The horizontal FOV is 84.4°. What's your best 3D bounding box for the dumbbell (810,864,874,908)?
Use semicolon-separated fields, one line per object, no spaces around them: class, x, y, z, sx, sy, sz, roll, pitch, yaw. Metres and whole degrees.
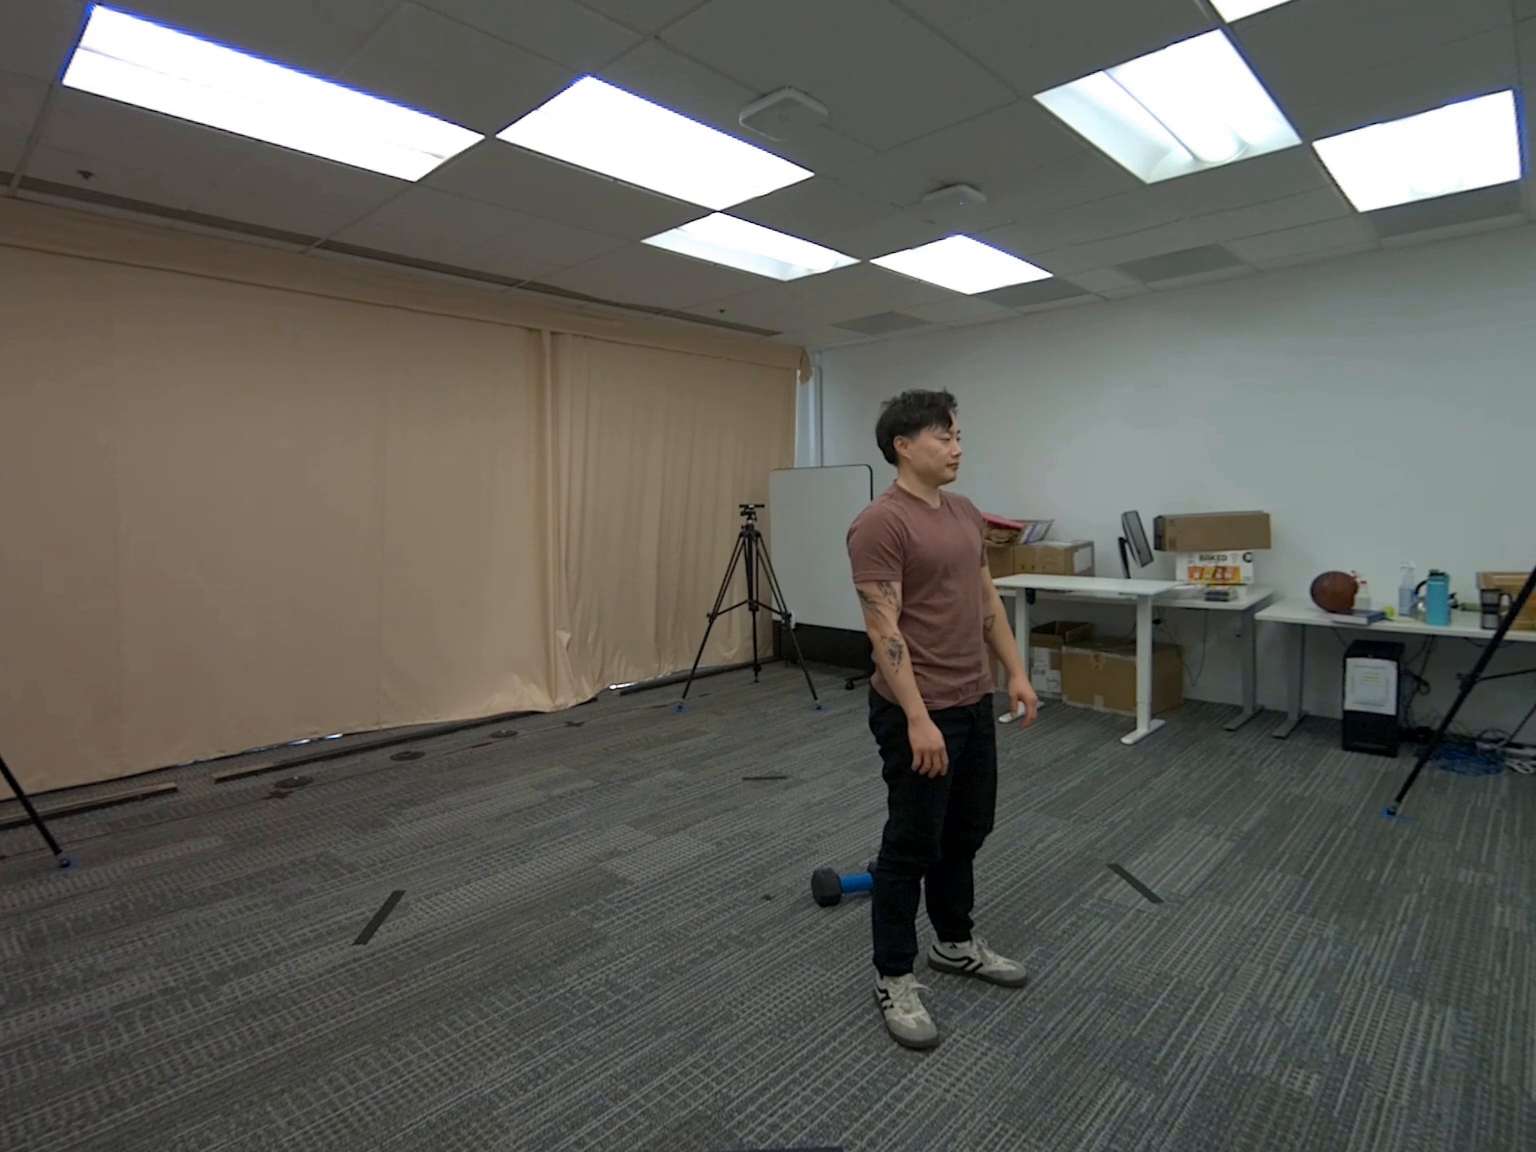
dumbbell;0.307;1.086;2.964;0.289;0.108;0.125;-2;6;-15
